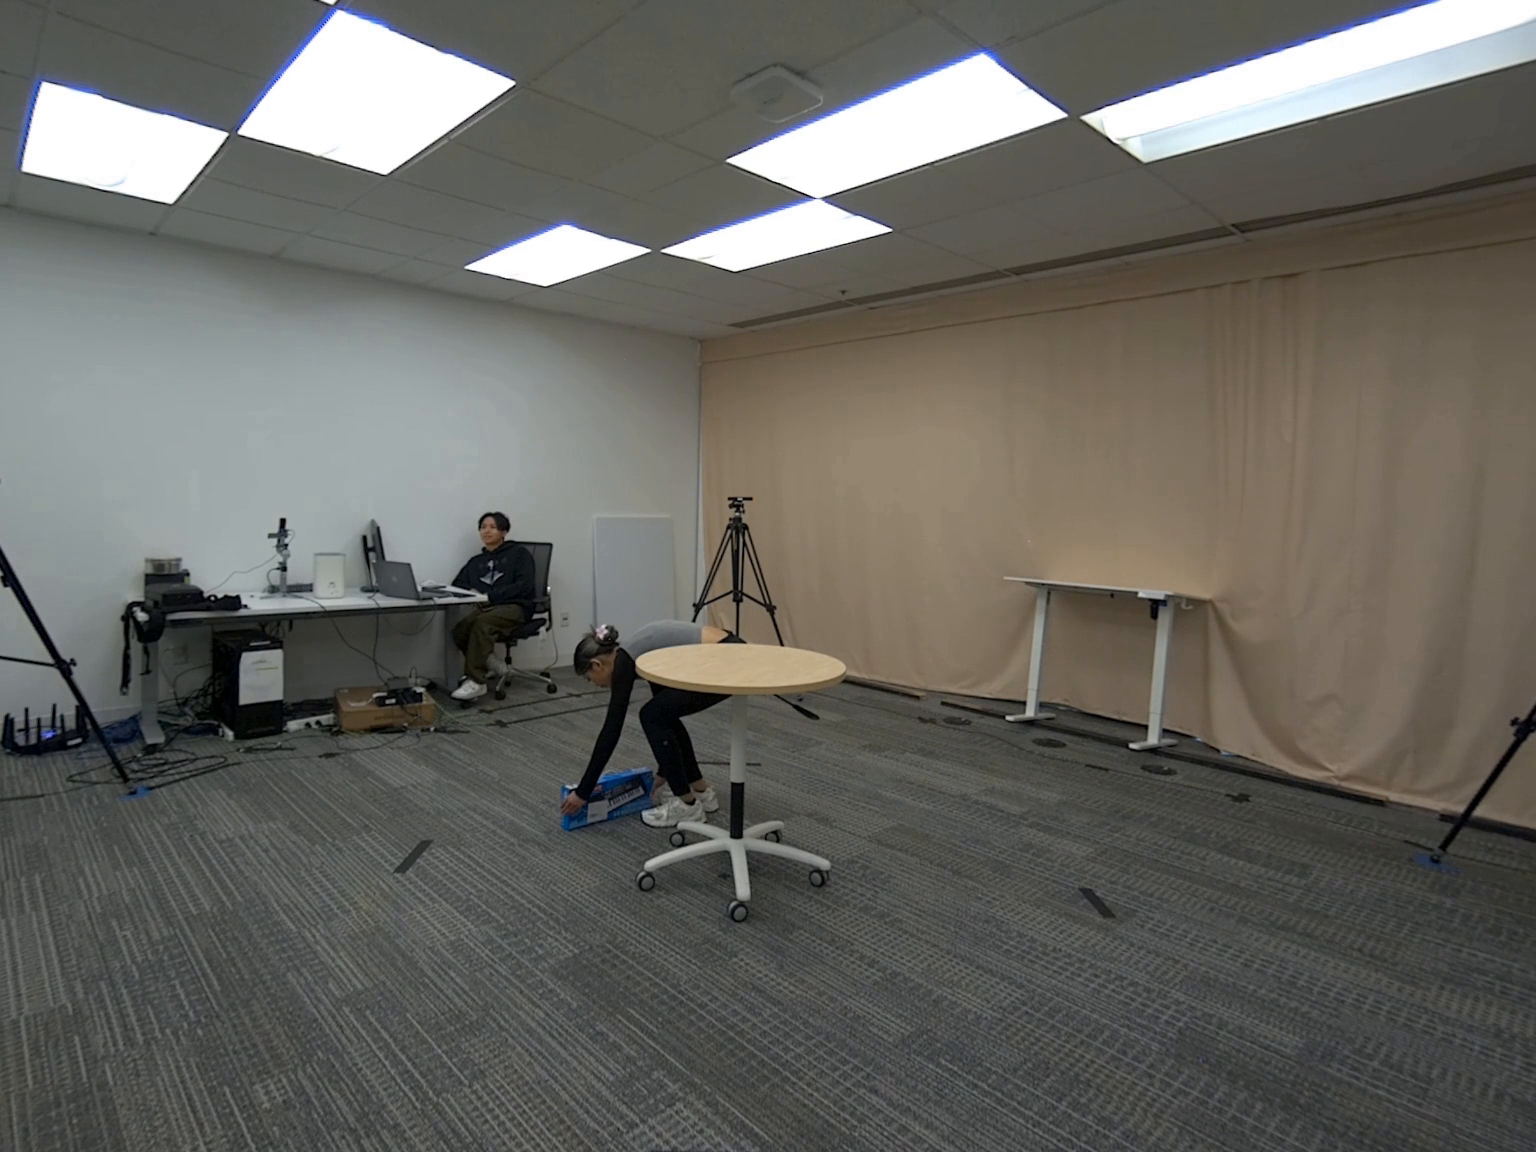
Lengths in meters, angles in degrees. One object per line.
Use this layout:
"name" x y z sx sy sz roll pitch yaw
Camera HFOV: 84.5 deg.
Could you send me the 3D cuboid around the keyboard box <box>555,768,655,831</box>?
"keyboard box" -0.699 0.961 3.643 0.427 0.176 0.060 -2 4 -44
